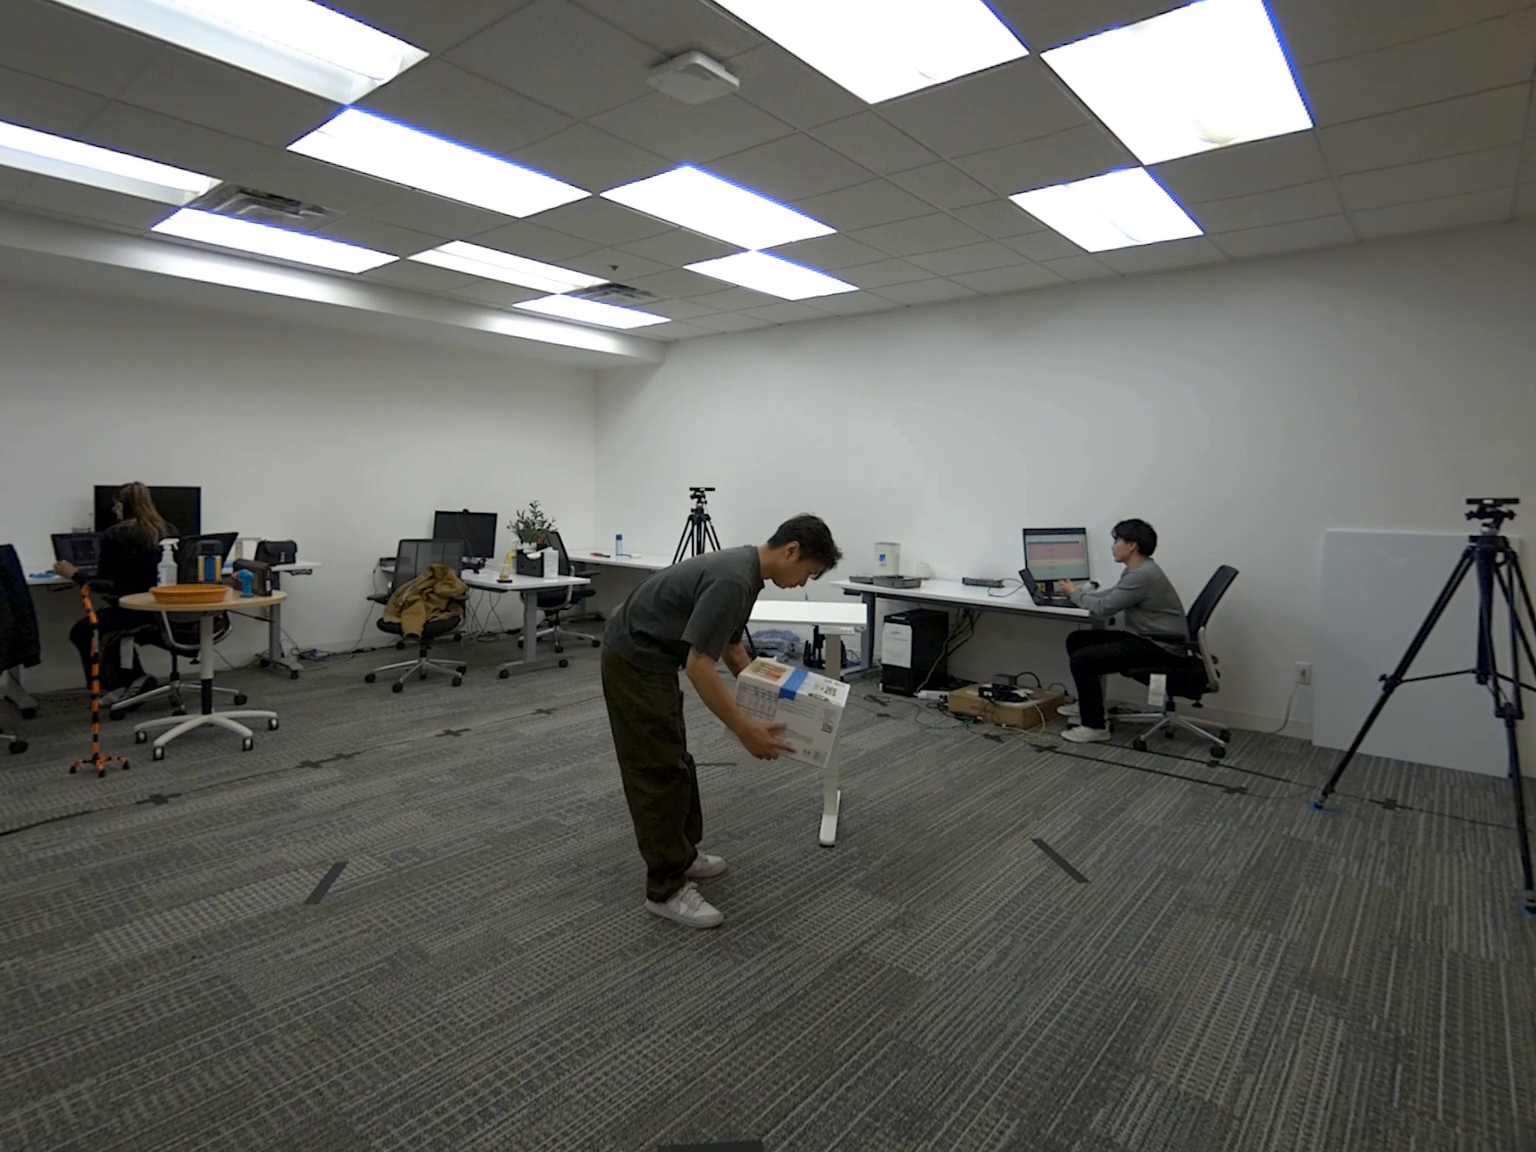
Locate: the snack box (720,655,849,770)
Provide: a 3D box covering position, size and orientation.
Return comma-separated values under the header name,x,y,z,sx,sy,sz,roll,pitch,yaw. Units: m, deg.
name,x,y,z,sx,sy,sz,roll,pitch,yaw
snack box,0.065,0.439,2.810,0.345,0.205,0.401,15,4,9
